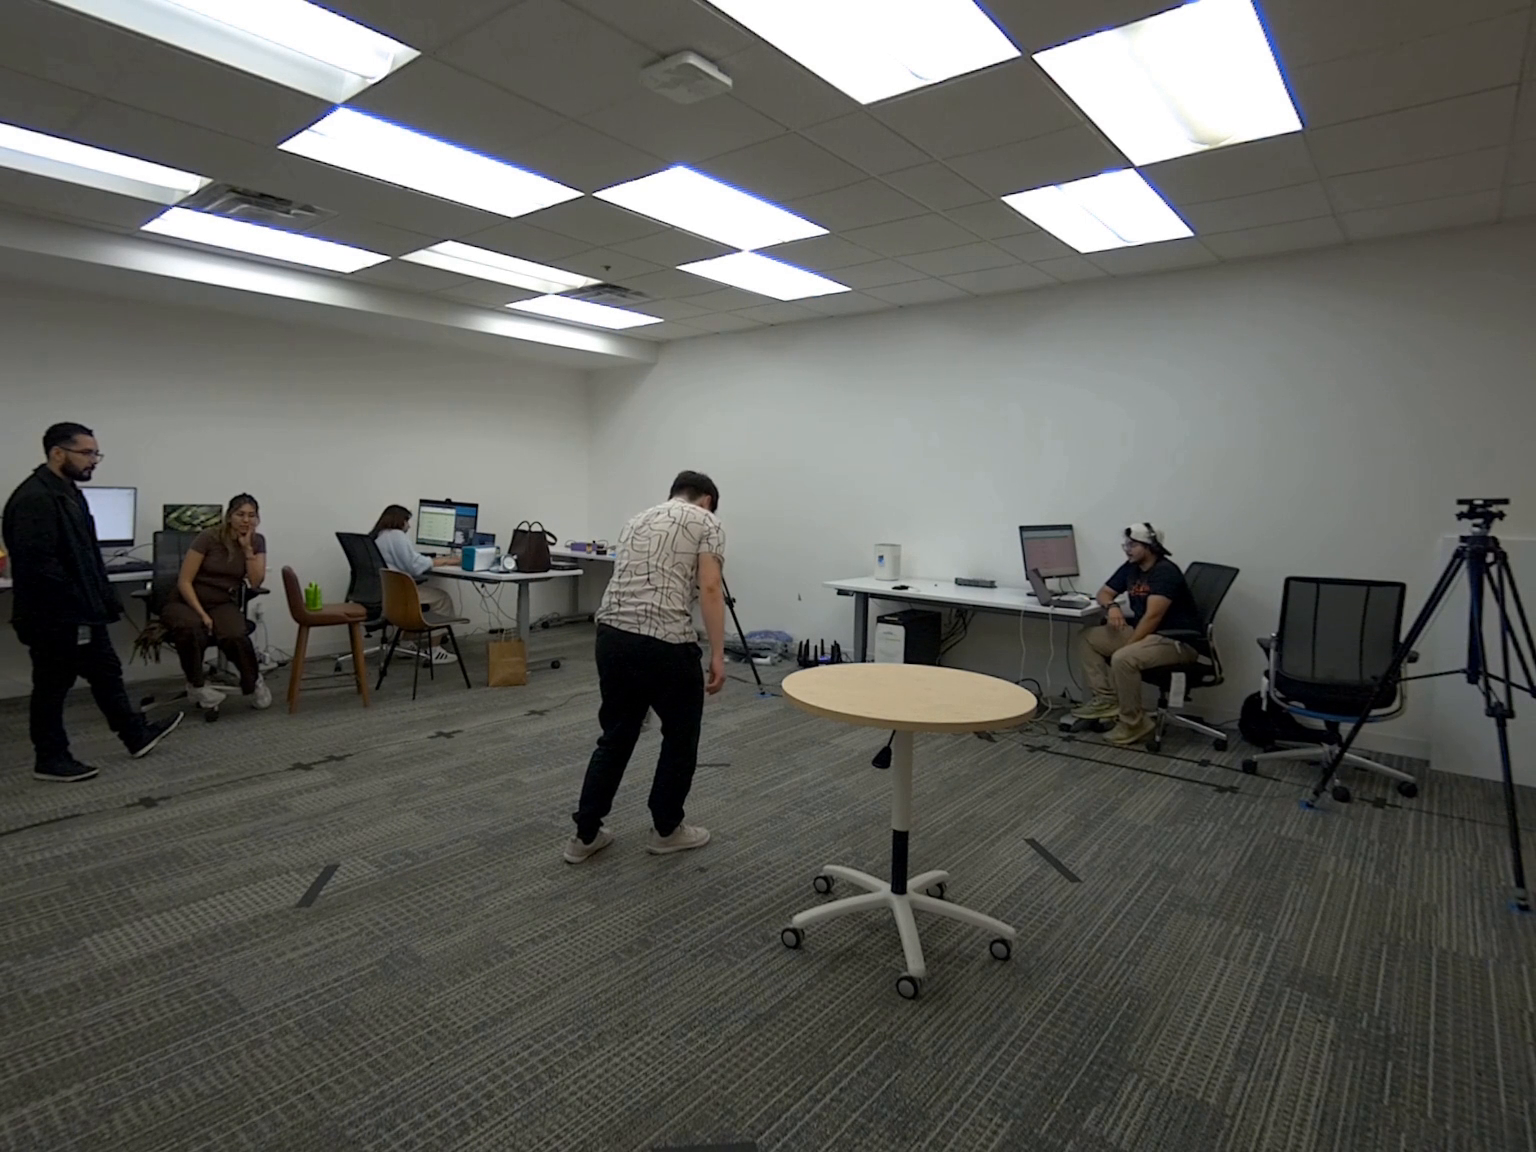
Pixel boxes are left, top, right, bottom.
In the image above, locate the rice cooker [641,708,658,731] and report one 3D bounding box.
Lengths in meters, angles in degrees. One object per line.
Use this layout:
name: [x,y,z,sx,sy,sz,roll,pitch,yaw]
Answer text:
rice cooker: [-0.568,0.512,3.499,0.214,0.232,0.225,-2,7,-44]
